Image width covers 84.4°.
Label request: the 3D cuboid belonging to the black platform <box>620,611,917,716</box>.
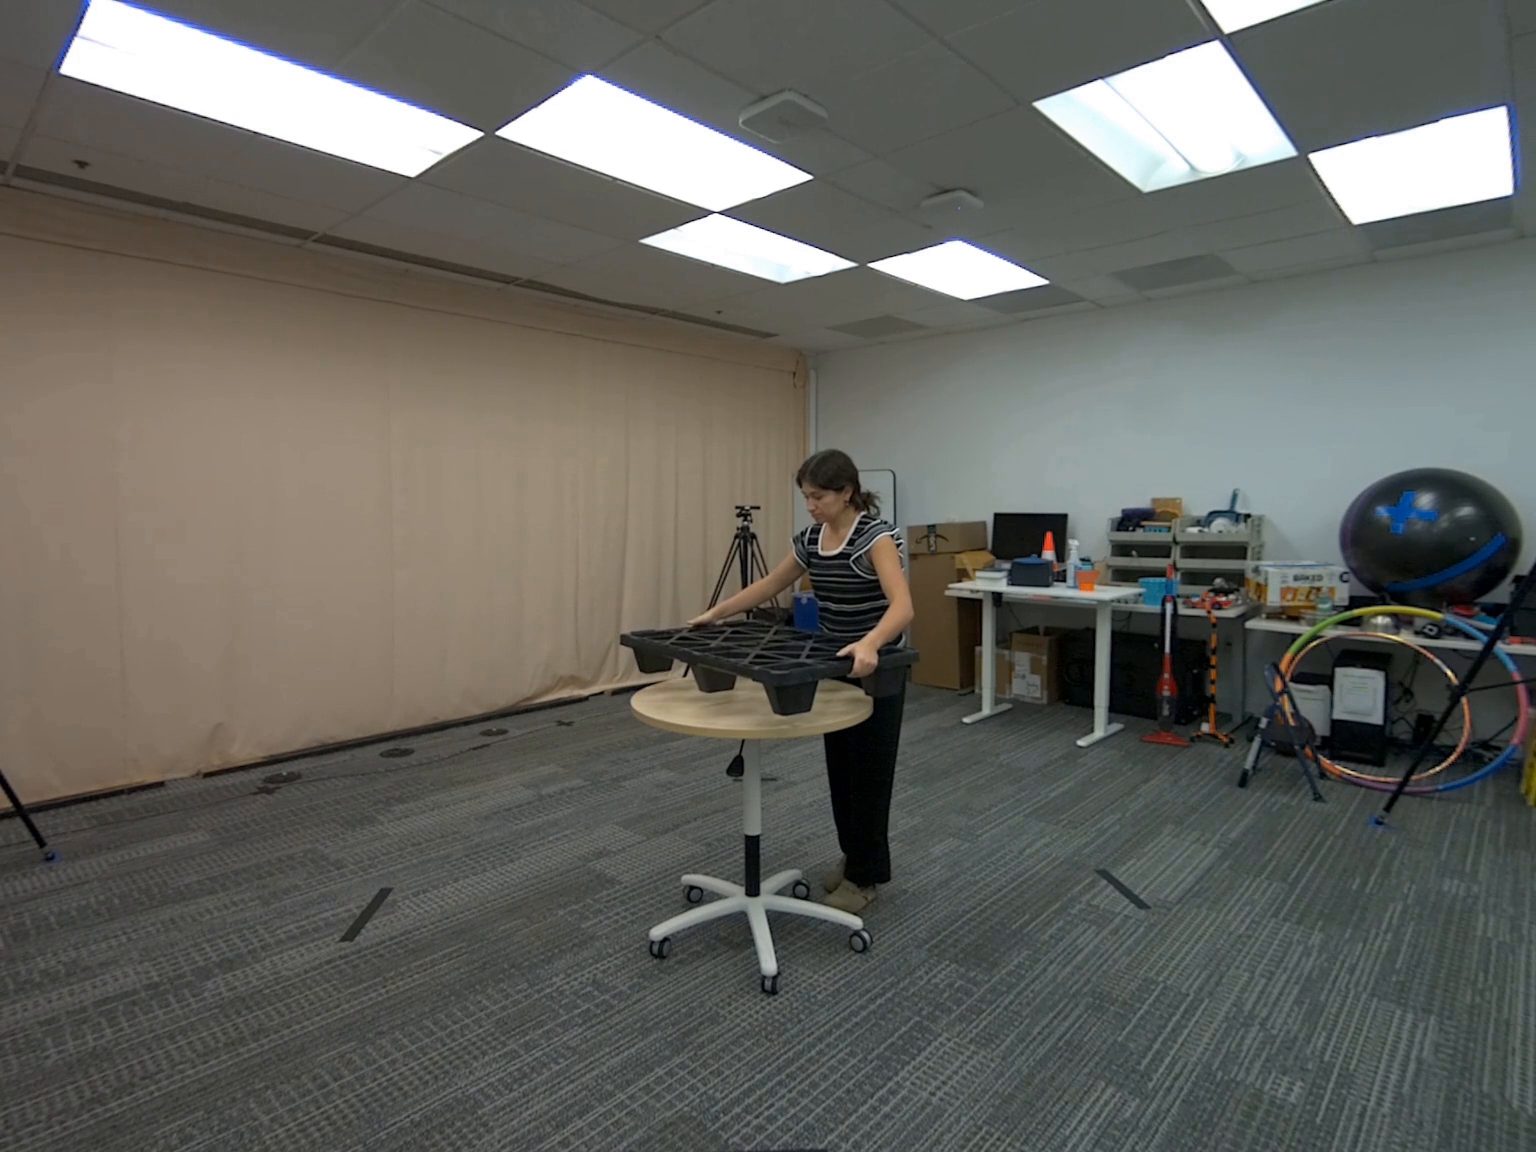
[{"bbox_3d":[-0.013,0.278,2.696,0.587,0.143,0.832,-4,7,-39],"label":"black platform"}]
